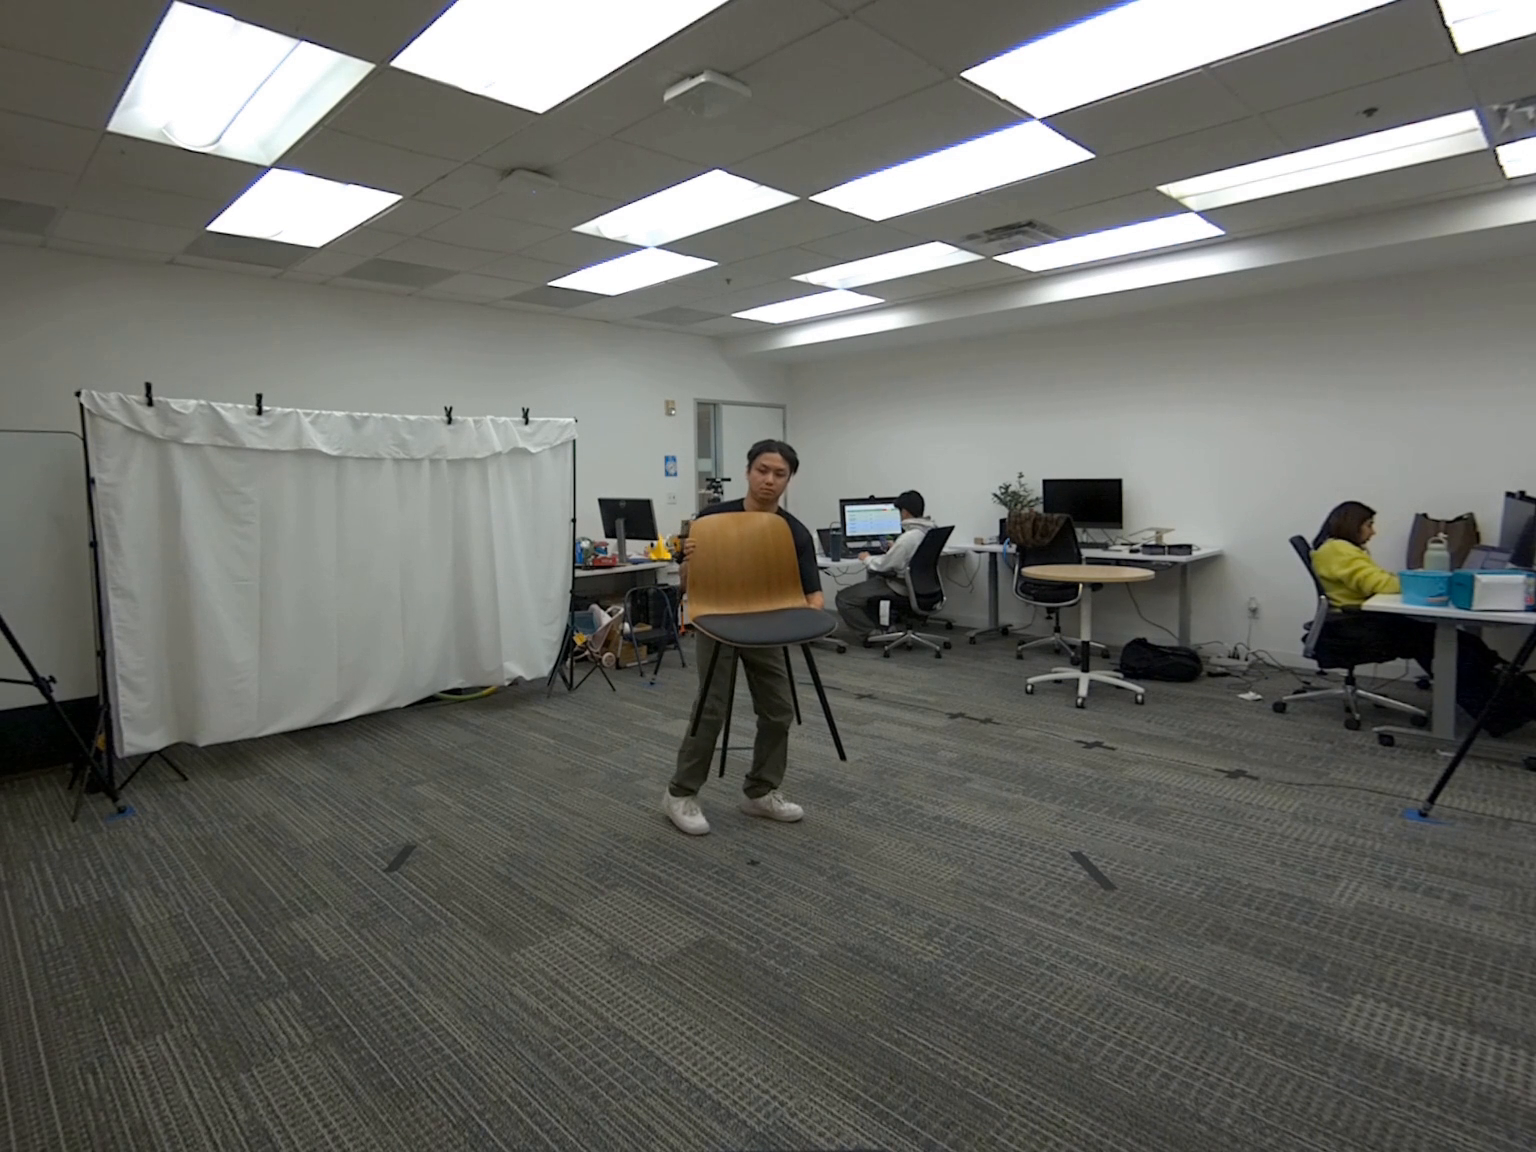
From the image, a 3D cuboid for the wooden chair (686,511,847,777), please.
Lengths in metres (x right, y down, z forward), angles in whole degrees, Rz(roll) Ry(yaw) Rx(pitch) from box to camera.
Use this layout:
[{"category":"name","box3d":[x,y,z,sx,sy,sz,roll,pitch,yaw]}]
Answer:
[{"category":"wooden chair","box3d":[-0.033,0.212,3.052,0.471,0.876,0.531,-3,2,-17]}]
